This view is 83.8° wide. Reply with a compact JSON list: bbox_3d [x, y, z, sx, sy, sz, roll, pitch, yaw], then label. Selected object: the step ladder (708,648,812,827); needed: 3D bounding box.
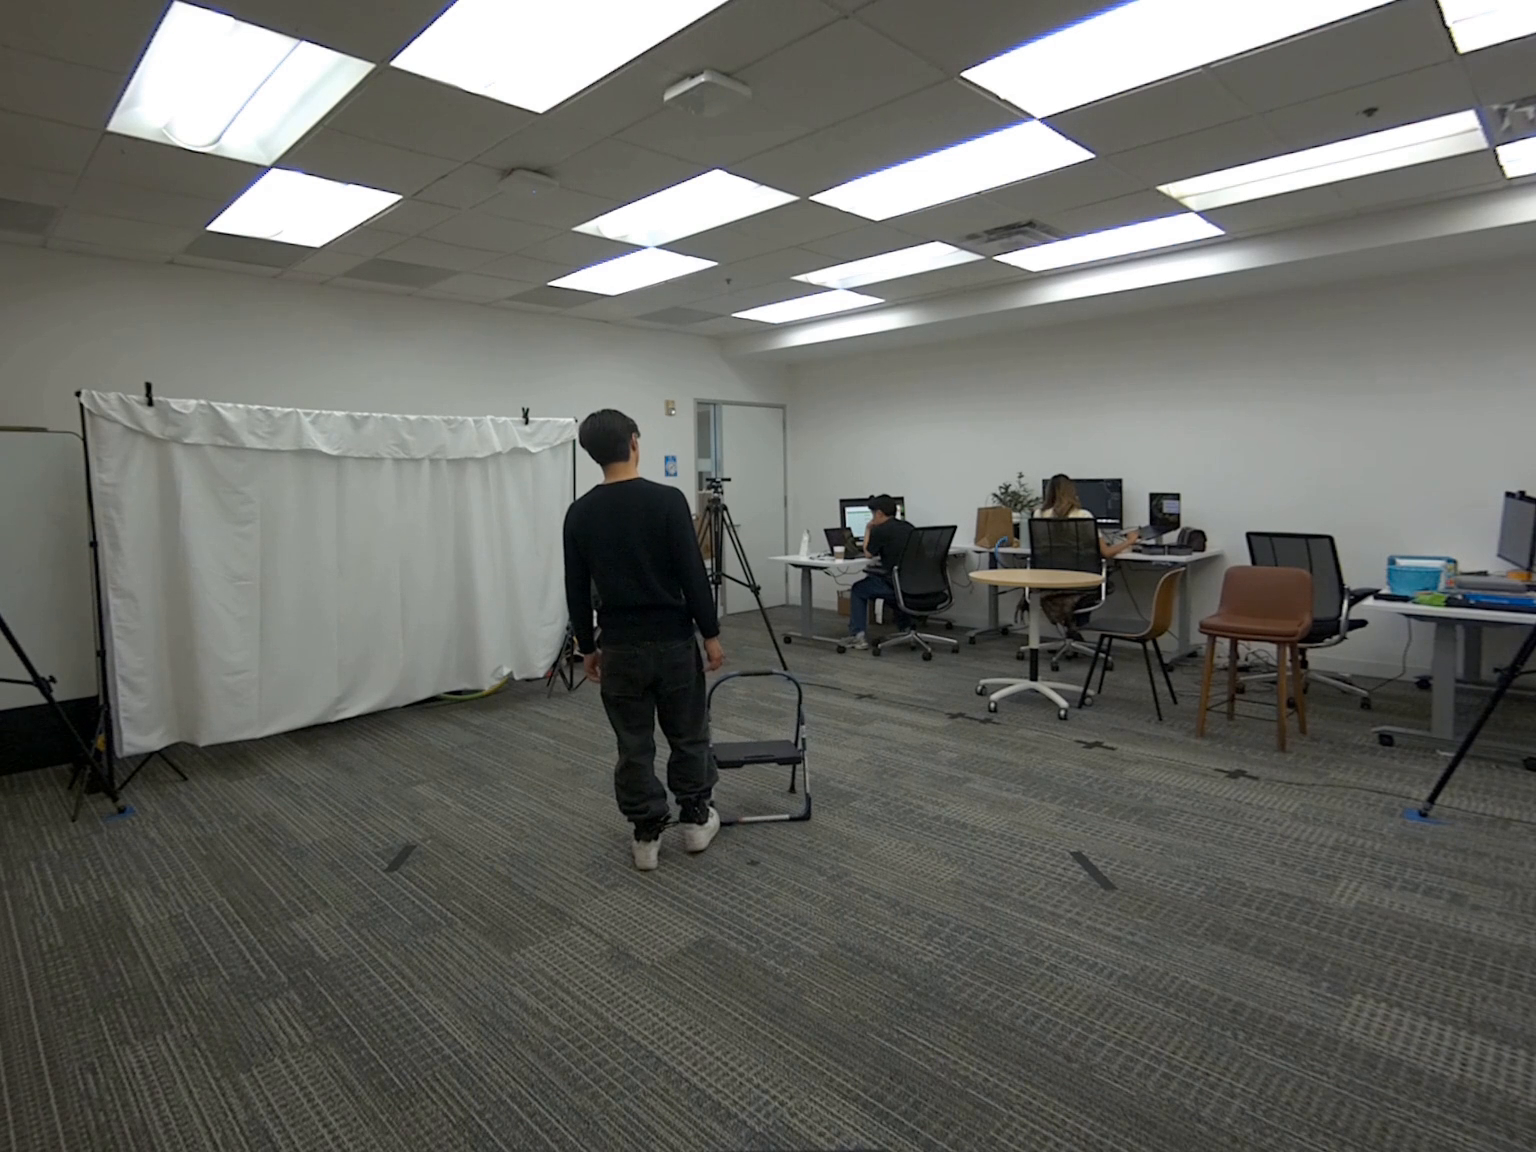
[{"bbox_3d":[-0.059,0.683,3.604,0.427,0.604,0.354,-2,4,-10],"label":"step ladder"}]
